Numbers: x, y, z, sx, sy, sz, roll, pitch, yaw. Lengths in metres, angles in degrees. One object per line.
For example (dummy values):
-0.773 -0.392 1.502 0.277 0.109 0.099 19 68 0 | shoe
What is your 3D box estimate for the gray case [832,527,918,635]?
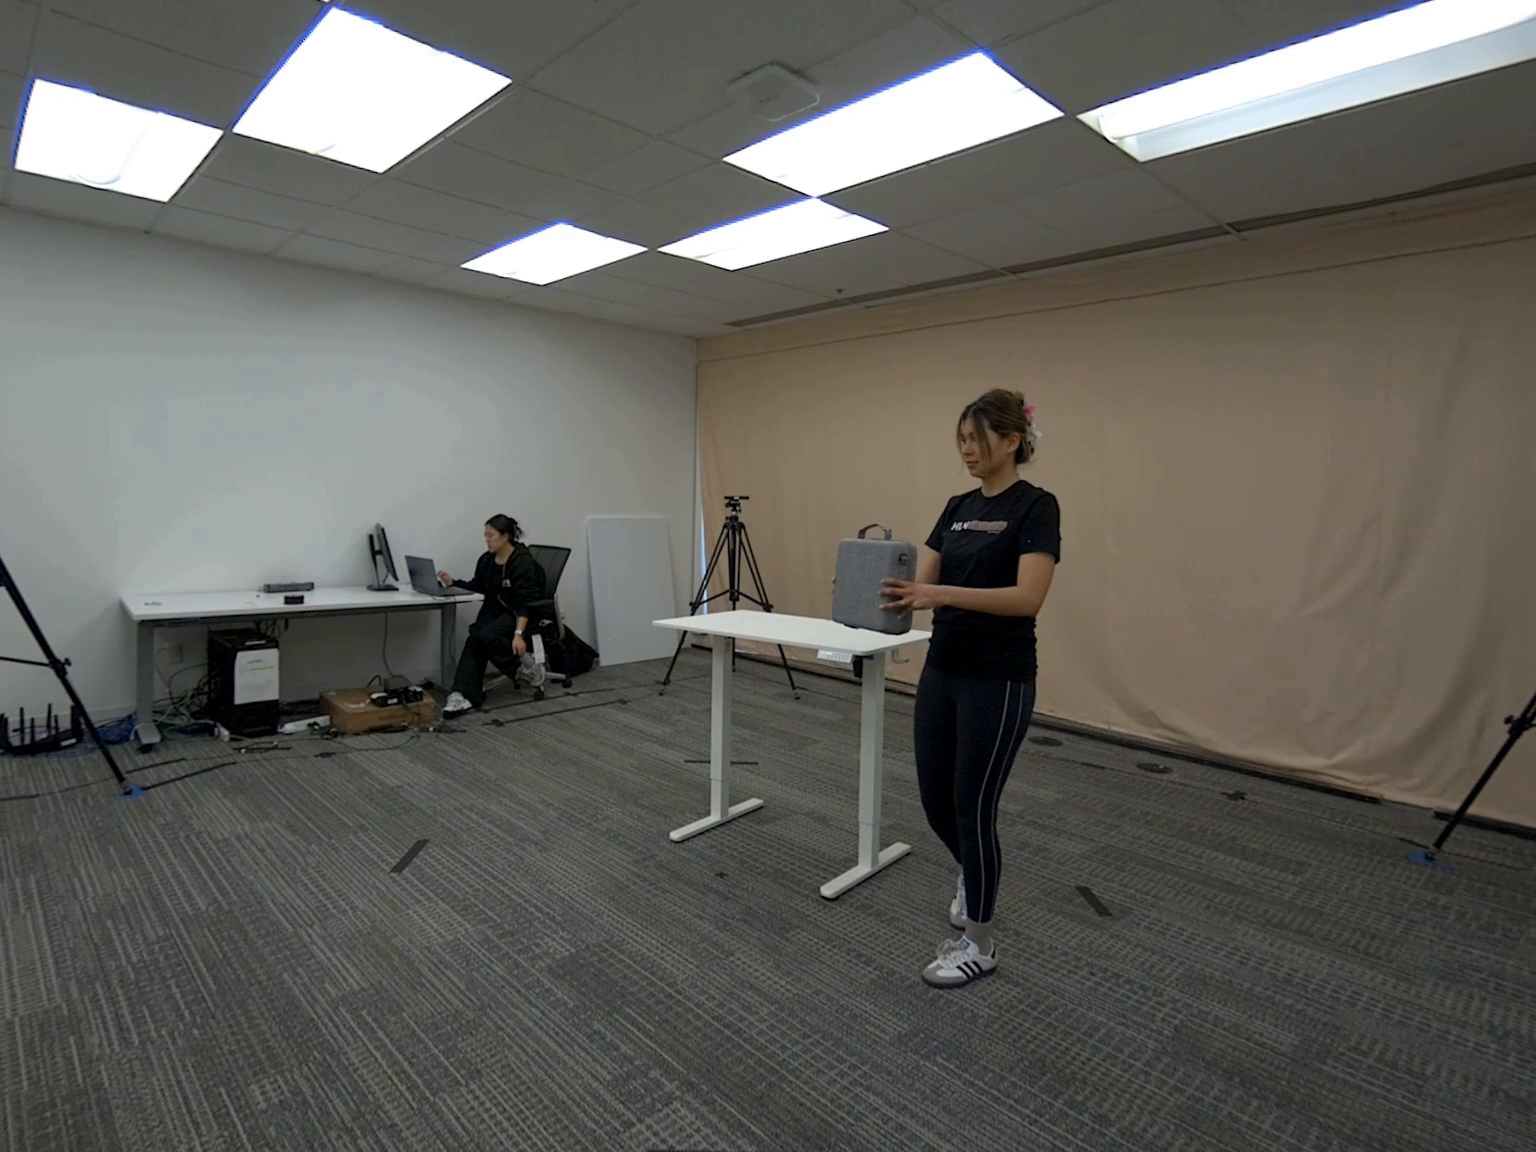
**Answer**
0.293 0.023 2.323 0.102 0.261 0.262 5 -1 -30 | gray case
